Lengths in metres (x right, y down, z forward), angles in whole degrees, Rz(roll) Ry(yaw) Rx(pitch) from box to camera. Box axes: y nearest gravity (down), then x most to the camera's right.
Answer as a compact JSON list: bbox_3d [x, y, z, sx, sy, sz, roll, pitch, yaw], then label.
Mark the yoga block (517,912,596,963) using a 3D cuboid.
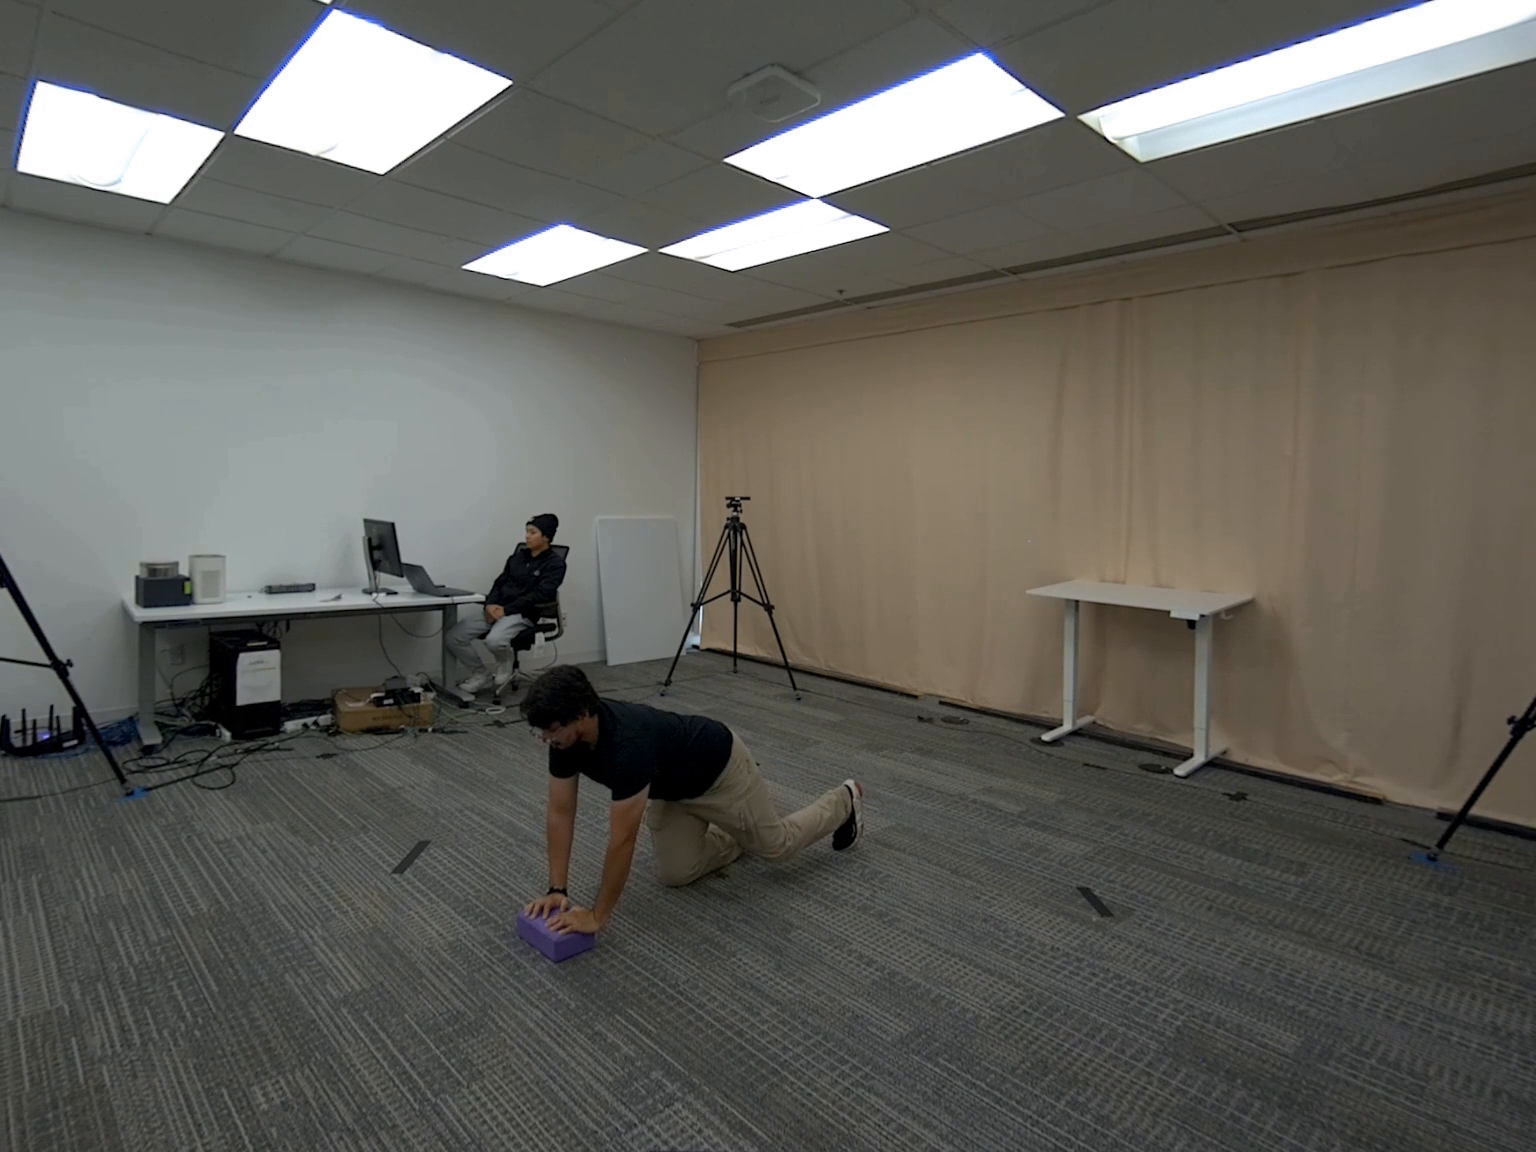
[{"bbox_3d":[-0.668,1.104,2.620,0.235,0.076,0.146,6,9,44],"label":"yoga block"}]
